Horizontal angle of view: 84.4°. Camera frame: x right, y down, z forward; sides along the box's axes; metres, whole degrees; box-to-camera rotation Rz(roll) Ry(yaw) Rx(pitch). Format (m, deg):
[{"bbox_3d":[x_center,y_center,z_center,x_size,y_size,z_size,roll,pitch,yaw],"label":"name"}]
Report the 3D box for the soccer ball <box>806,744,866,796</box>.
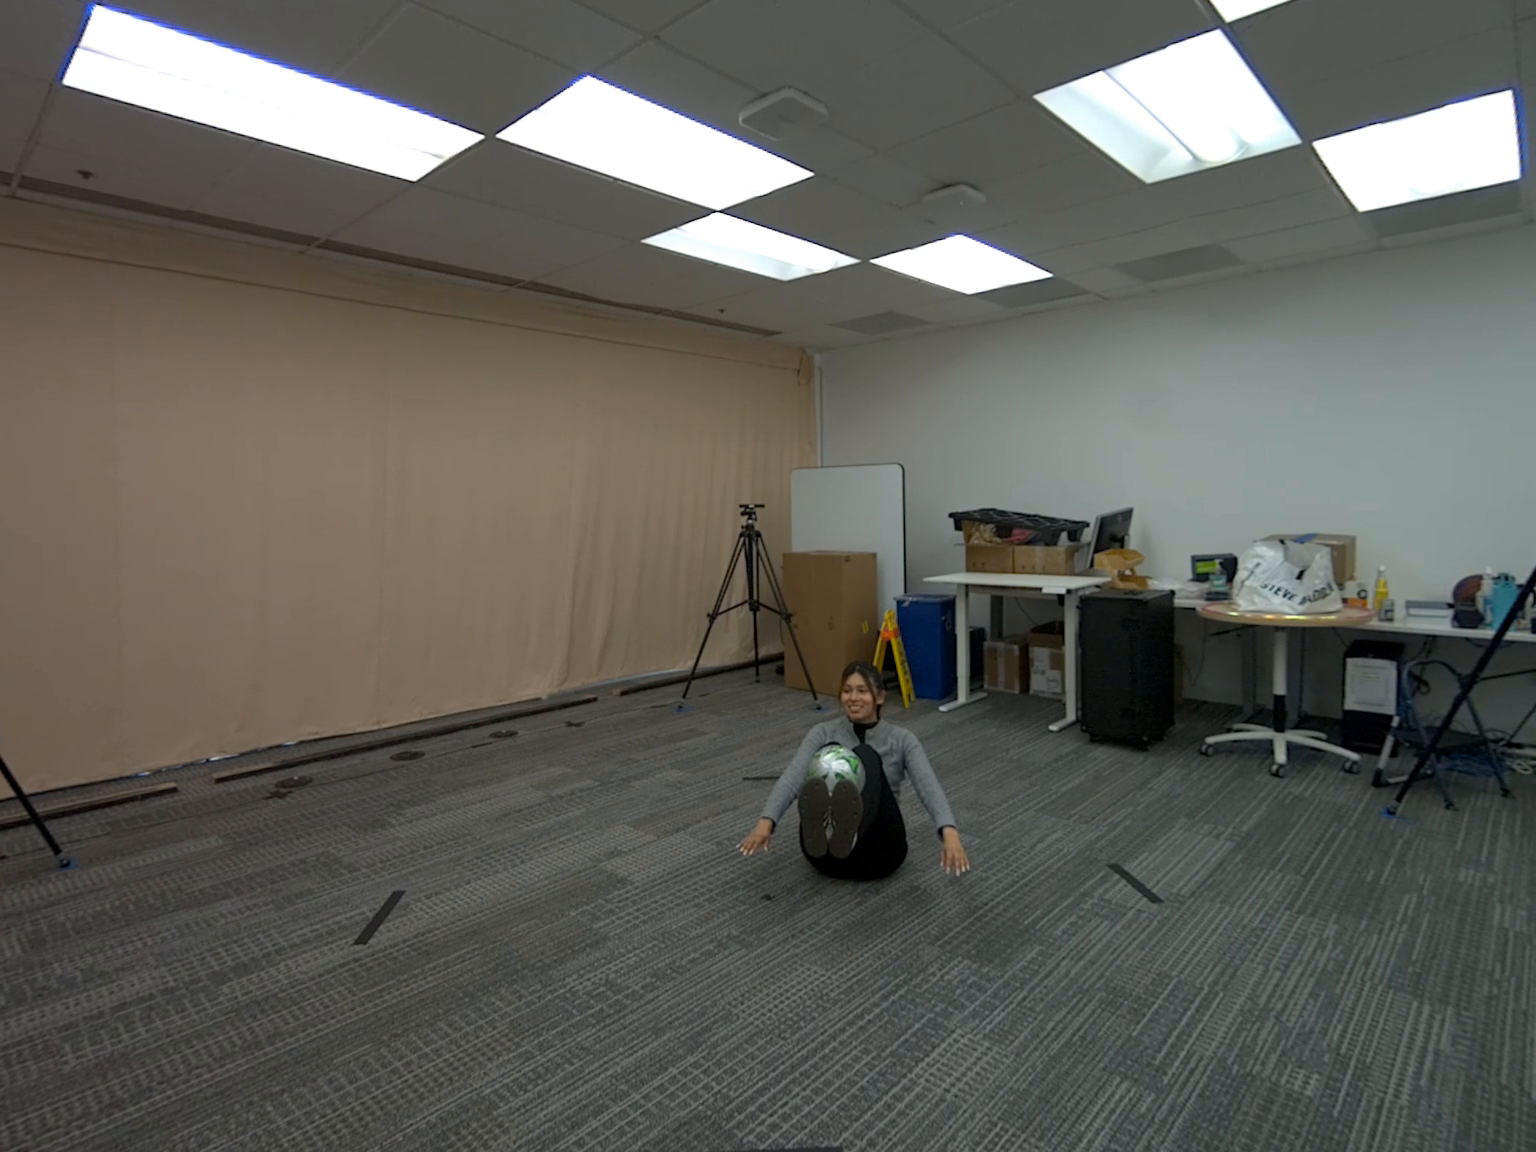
[{"bbox_3d":[0.220,0.644,2.675,0.187,0.187,0.188,-1,4,-2],"label":"soccer ball"}]
